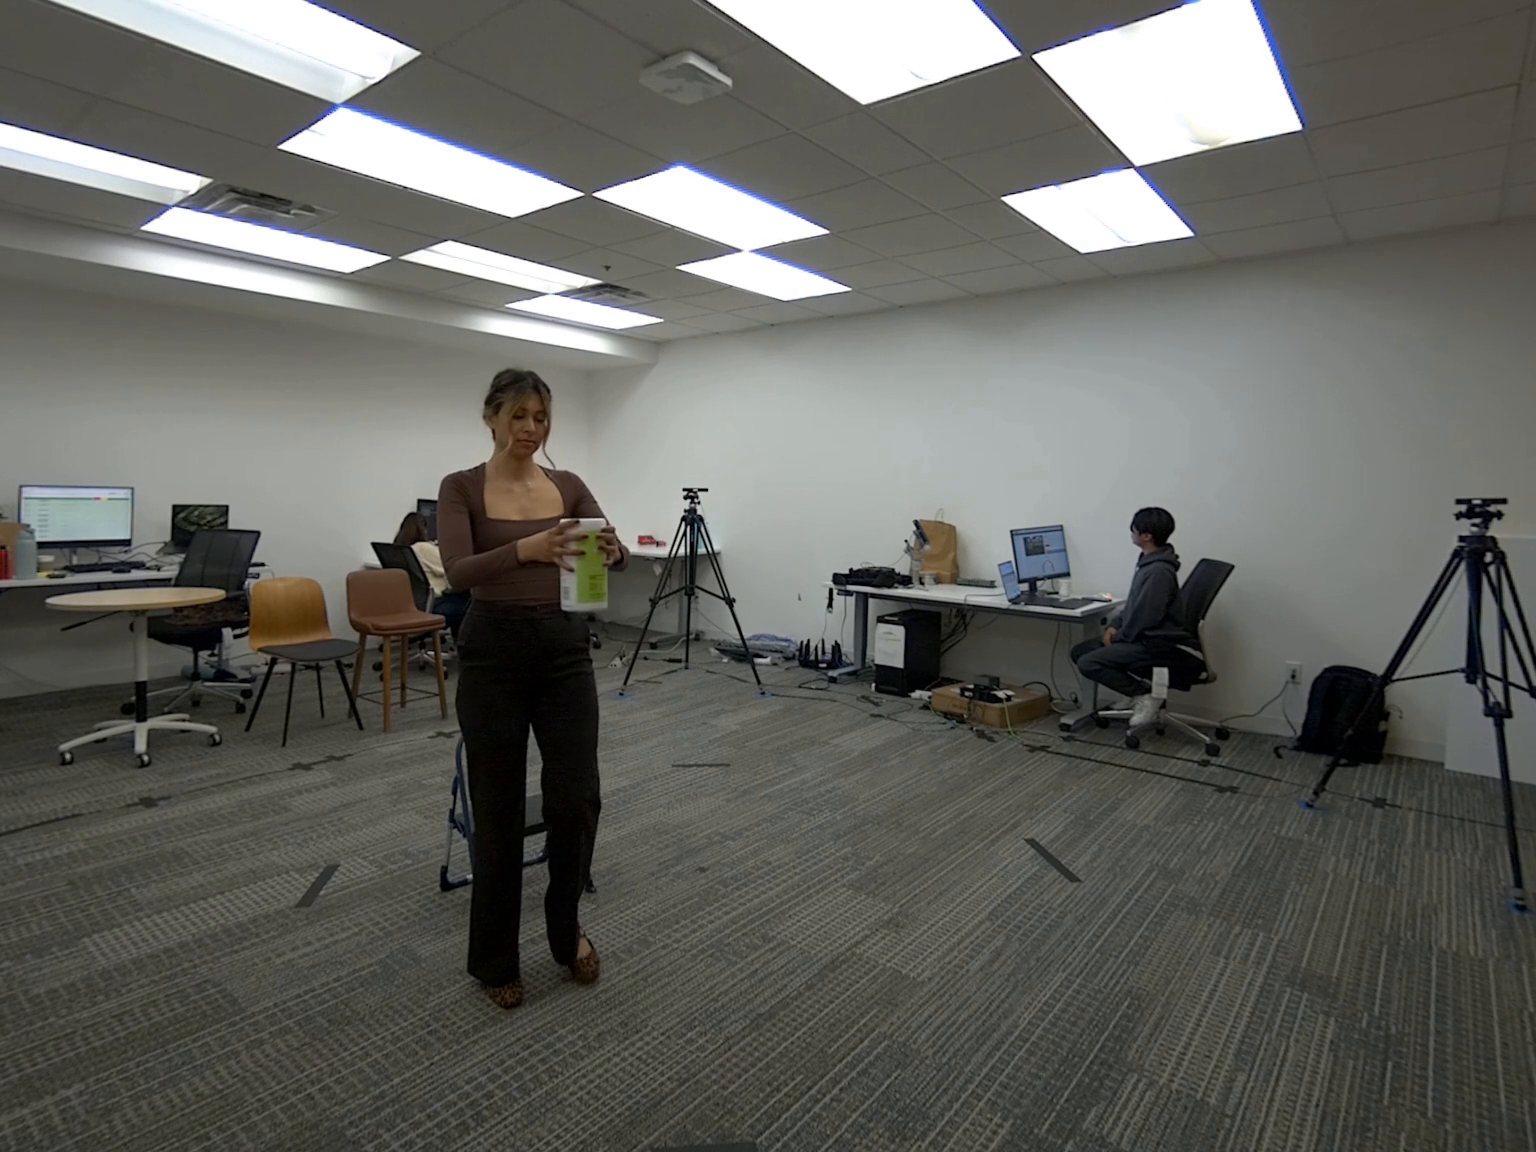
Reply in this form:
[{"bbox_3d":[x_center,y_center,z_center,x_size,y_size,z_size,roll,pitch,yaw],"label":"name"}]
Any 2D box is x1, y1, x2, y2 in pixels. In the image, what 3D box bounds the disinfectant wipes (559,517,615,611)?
[{"bbox_3d":[-0.440,-0.034,2.022,0.118,0.217,0.118,2,1,-2],"label":"disinfectant wipes"}]
